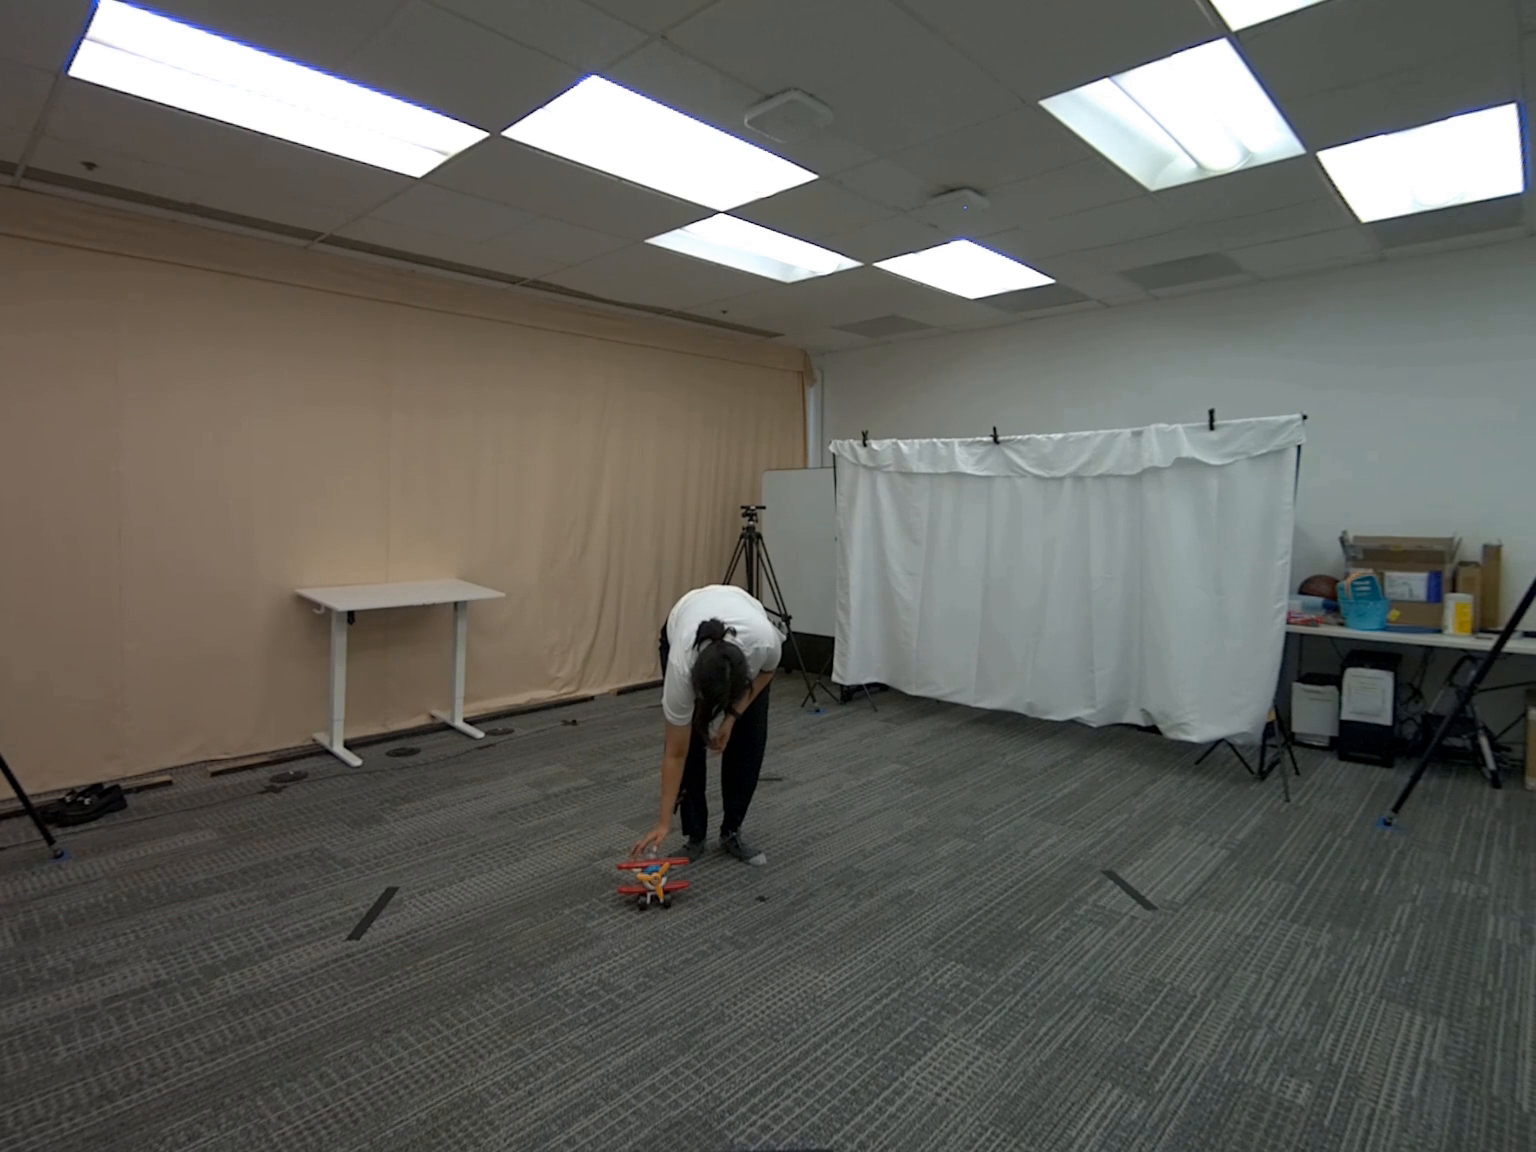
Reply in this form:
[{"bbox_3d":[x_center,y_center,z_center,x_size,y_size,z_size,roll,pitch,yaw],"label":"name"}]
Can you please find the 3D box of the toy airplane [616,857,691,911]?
[{"bbox_3d":[-0.434,1.077,2.992,0.244,0.156,0.267,-5,6,-38],"label":"toy airplane"}]
